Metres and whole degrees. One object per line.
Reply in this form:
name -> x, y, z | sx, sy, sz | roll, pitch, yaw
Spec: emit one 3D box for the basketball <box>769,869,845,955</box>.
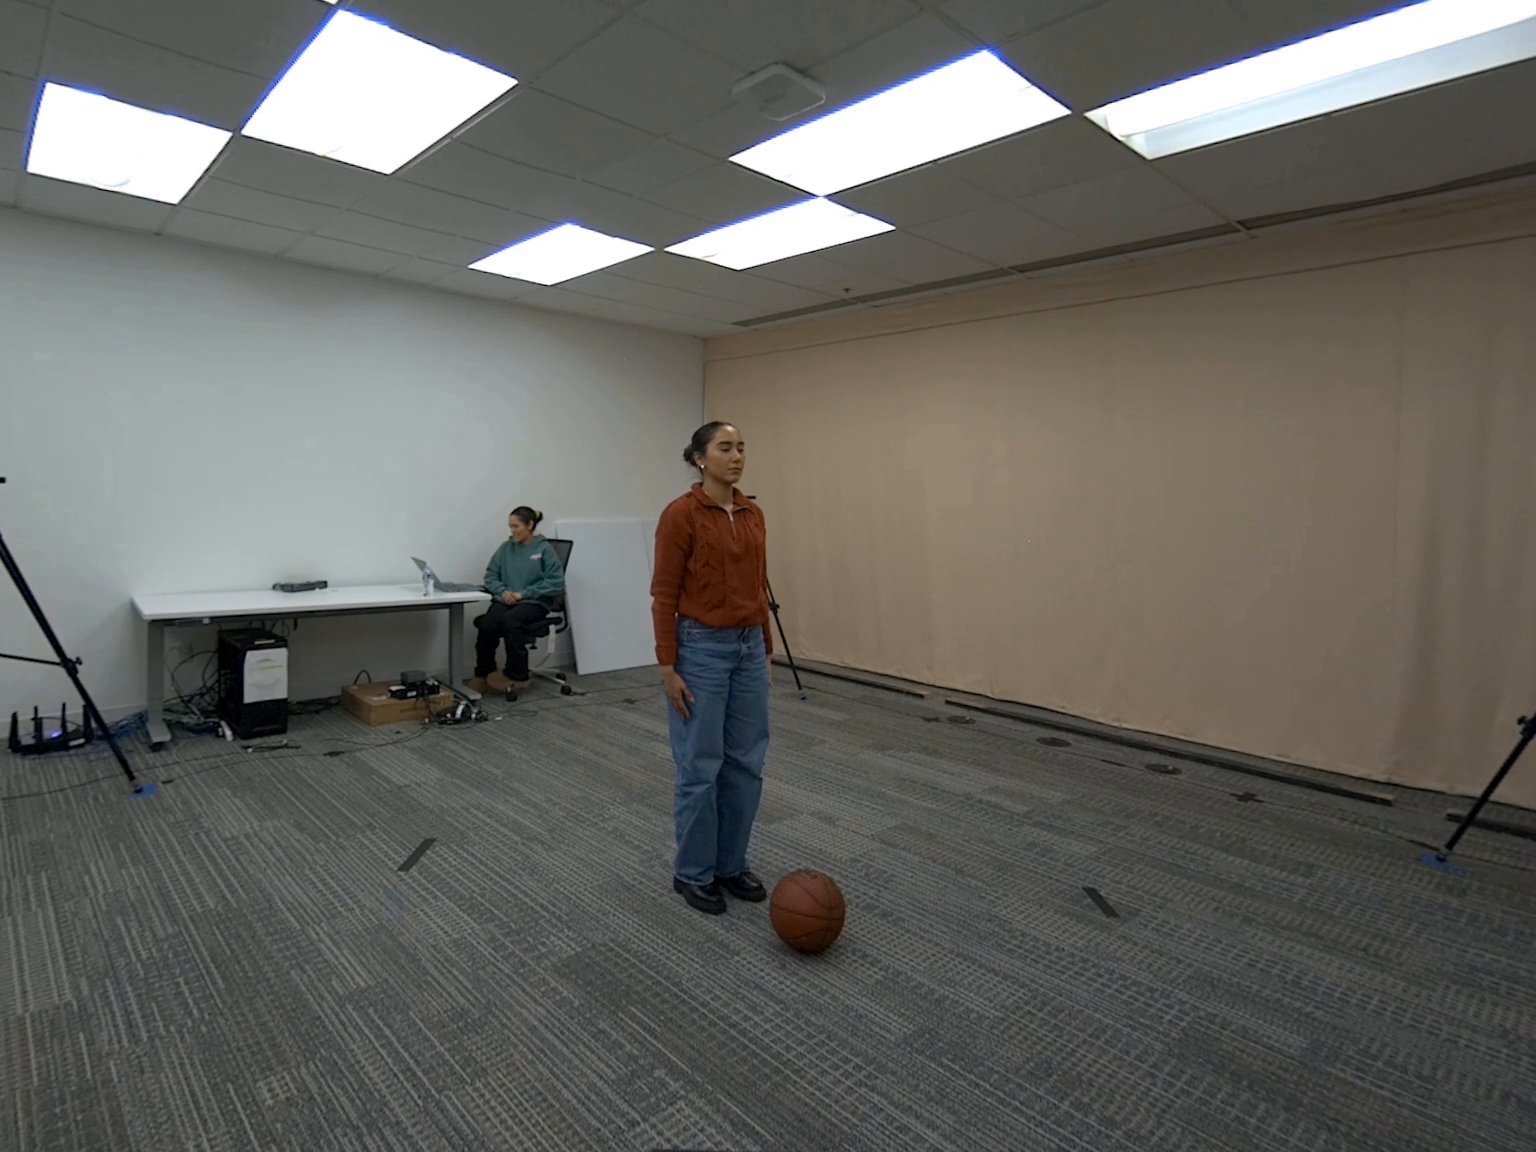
basketball -> 0.118, 1.037, 2.610 | 0.236, 0.235, 0.237 | 1, 4, -1
